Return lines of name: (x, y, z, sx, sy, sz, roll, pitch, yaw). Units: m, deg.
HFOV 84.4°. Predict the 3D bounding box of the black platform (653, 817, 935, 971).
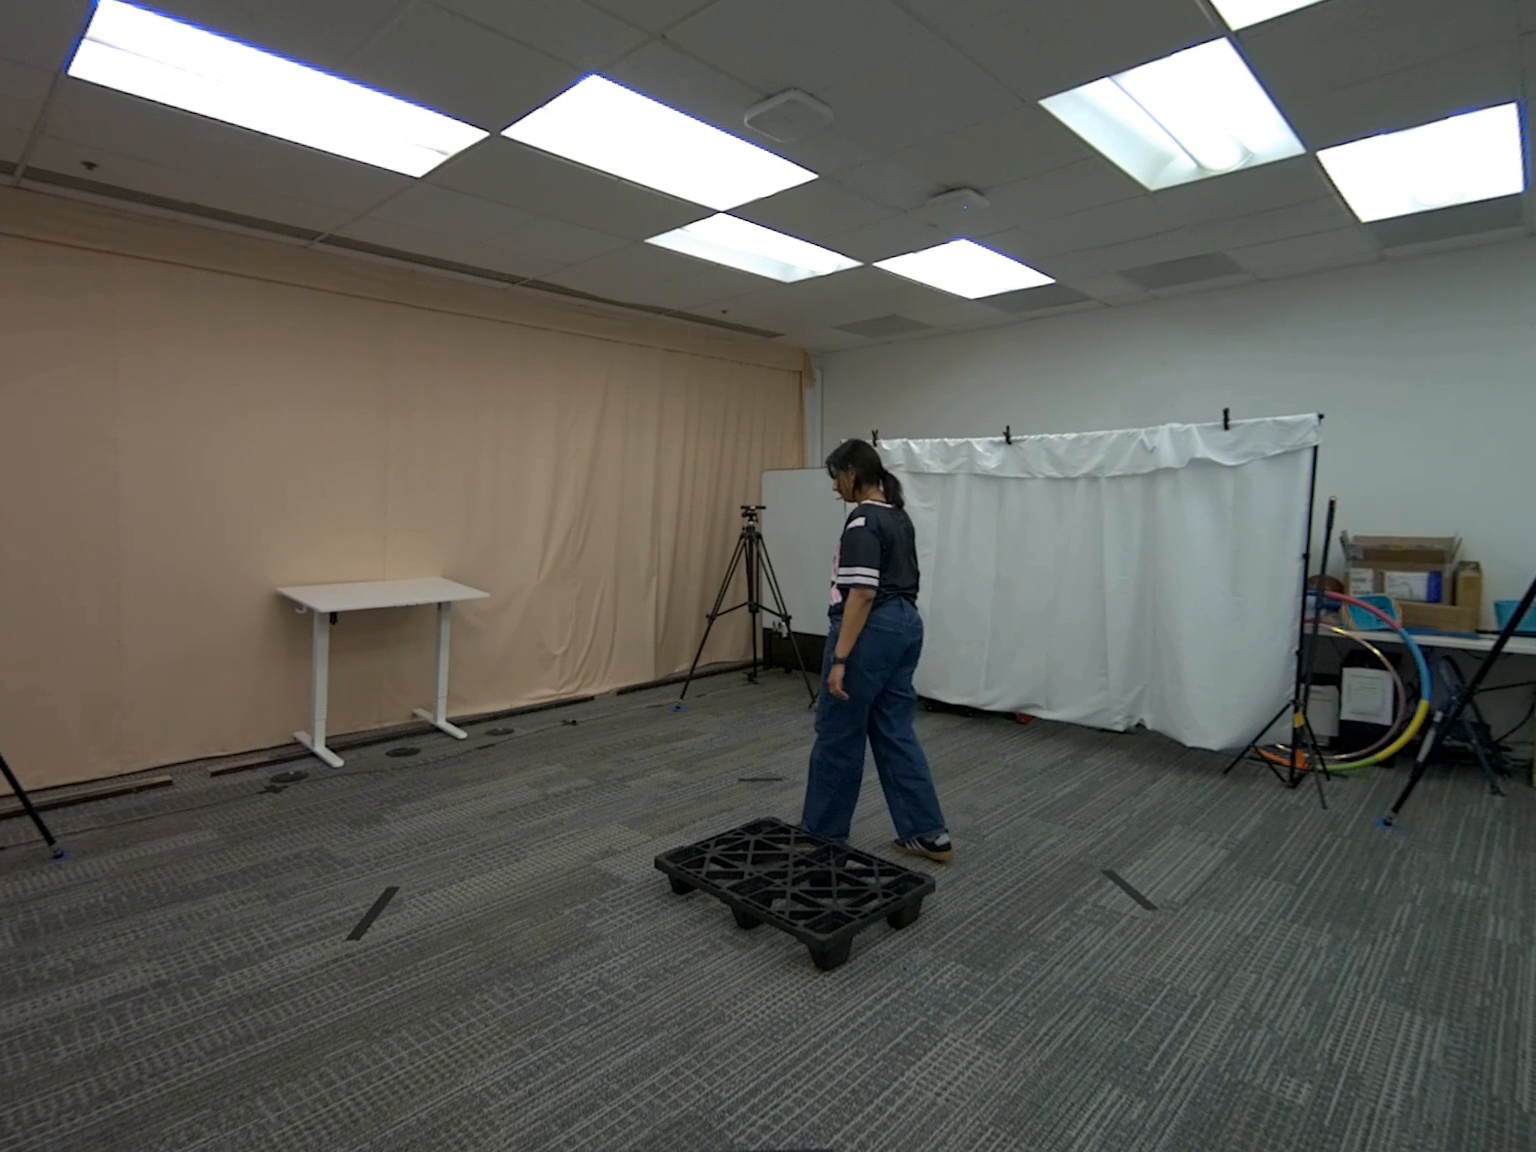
black platform: (0.078, 1.083, 2.922, 0.587, 0.143, 0.832, -6, 7, -44)
